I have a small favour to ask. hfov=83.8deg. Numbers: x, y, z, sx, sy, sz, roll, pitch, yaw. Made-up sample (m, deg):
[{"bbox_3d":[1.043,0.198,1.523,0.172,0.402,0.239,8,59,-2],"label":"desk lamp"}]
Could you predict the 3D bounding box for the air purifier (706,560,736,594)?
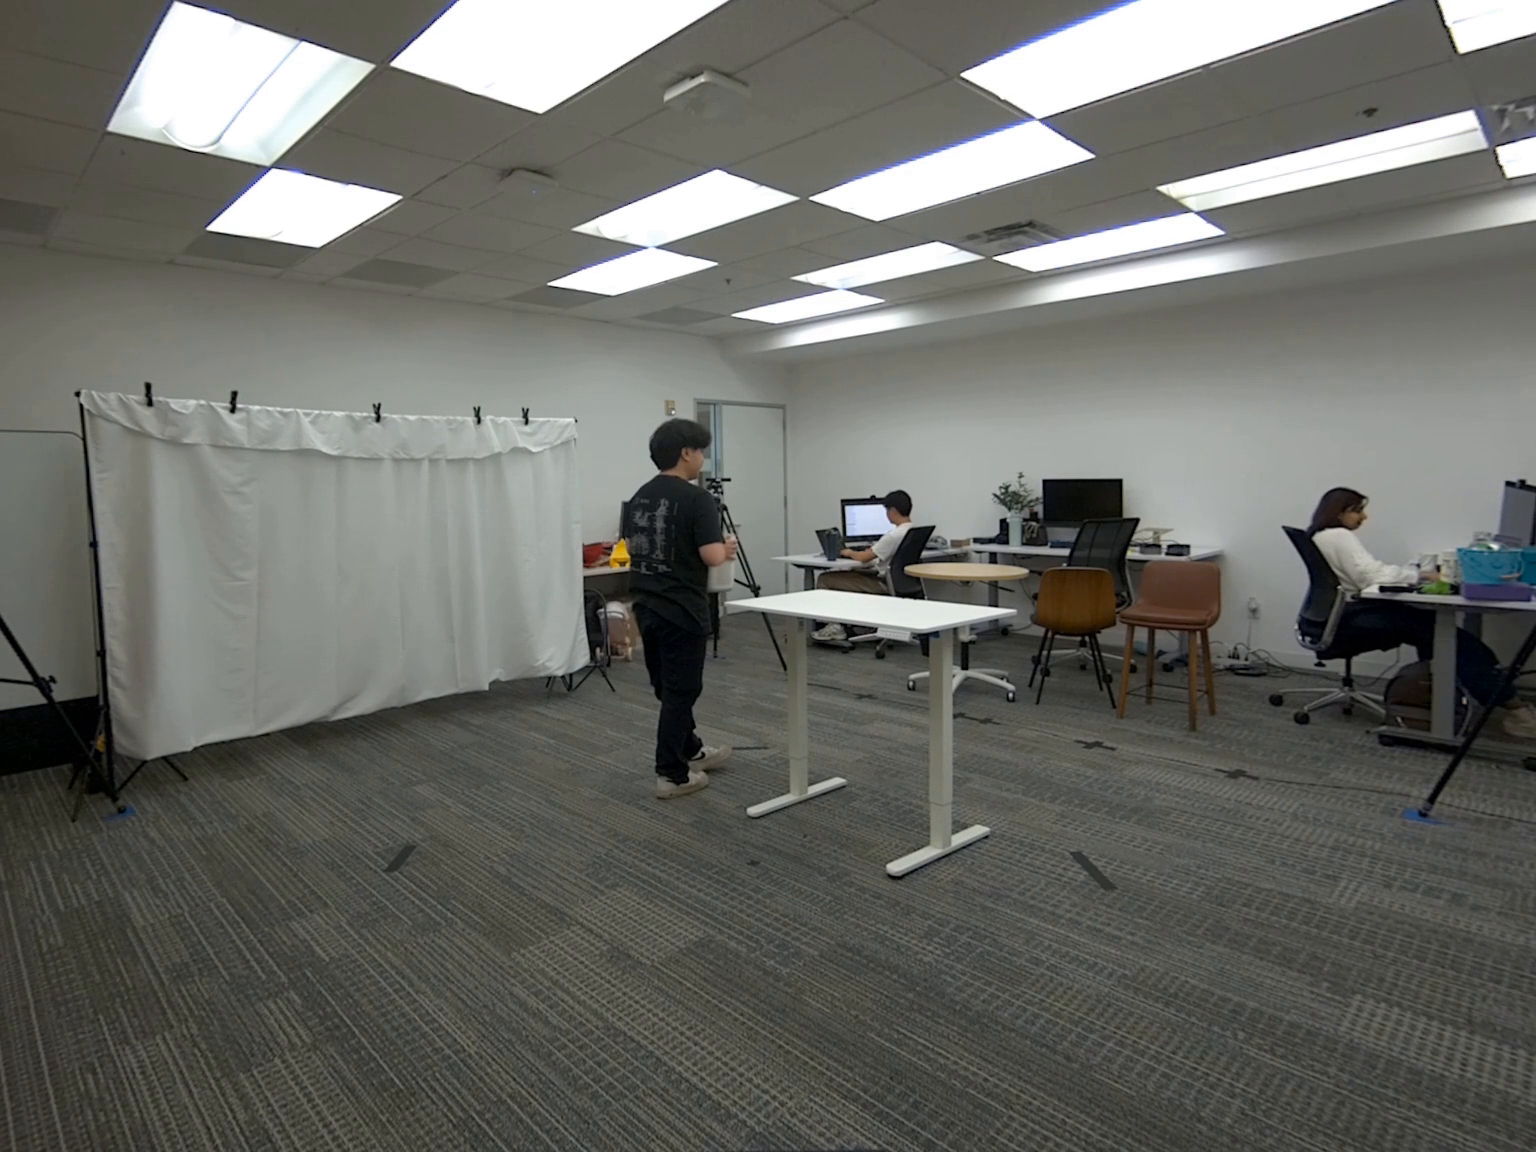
[{"bbox_3d":[-0.256,-0.065,3.958,0.167,0.264,0.177,-4,8,-43],"label":"air purifier"}]
